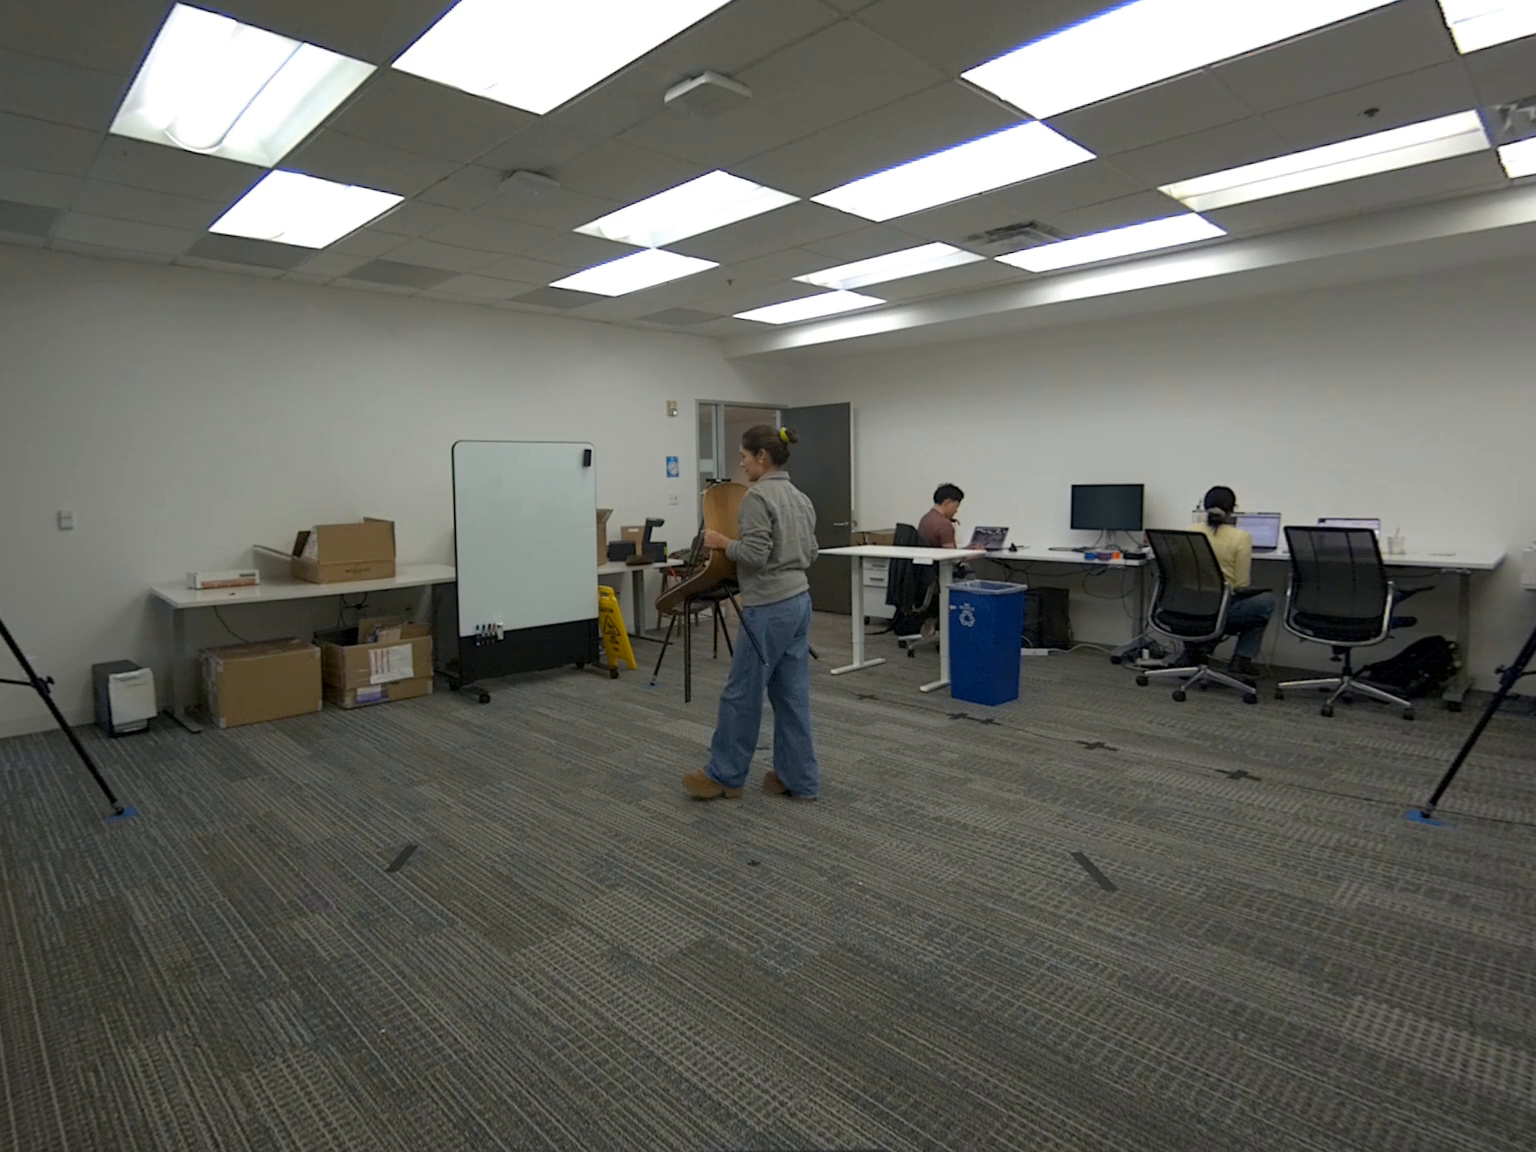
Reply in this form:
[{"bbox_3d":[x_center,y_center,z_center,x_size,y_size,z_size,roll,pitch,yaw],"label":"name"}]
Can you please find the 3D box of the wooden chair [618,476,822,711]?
[{"bbox_3d":[-0.225,0.079,3.885,0.530,0.892,0.464,-25,-16,30],"label":"wooden chair"}]
